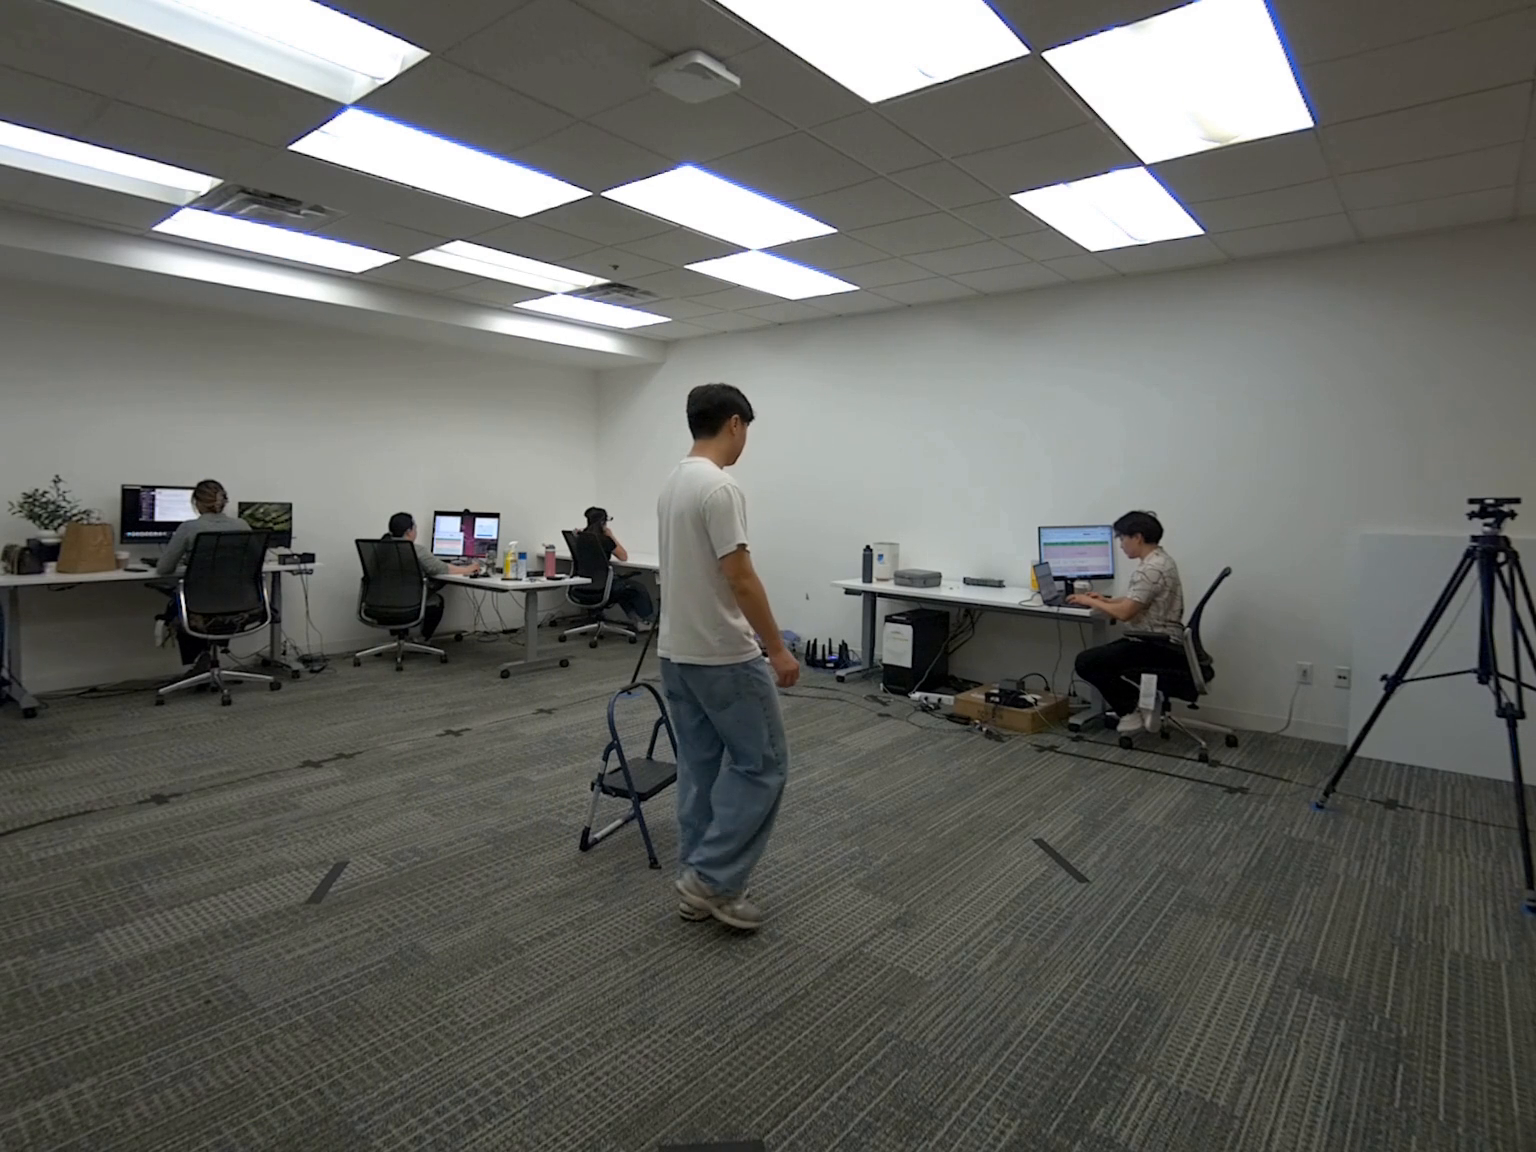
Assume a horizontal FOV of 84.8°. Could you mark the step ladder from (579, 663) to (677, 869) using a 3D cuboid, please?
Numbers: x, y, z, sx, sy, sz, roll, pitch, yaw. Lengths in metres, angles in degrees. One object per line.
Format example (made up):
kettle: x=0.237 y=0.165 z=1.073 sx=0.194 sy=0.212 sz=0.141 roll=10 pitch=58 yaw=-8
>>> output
step ladder: x=-0.492 y=0.734 z=3.340 sx=0.358 sy=0.604 sz=0.422 roll=2 pitch=3 yaw=22
